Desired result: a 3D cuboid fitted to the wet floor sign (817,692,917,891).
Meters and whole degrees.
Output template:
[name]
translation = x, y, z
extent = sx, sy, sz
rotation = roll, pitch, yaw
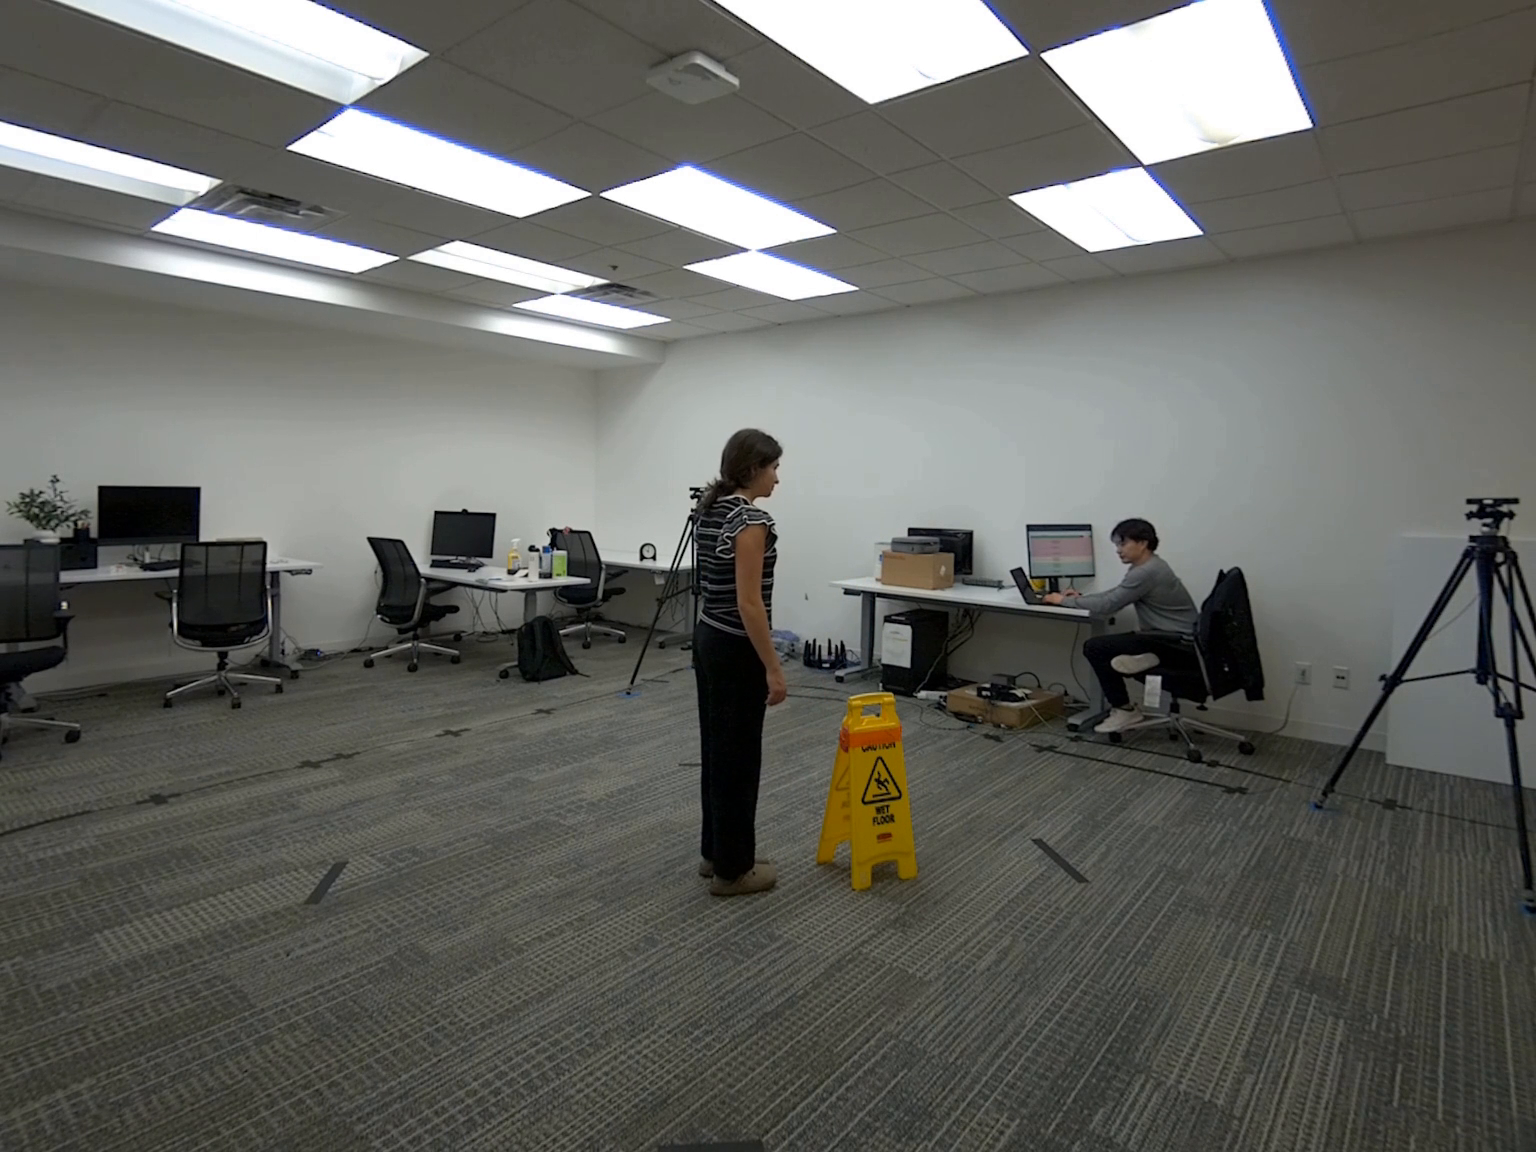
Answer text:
[wet floor sign]
translation = 0.363, 0.758, 3.112
extent = 0.275, 0.644, 0.298
rotation = 0, 4, -28
